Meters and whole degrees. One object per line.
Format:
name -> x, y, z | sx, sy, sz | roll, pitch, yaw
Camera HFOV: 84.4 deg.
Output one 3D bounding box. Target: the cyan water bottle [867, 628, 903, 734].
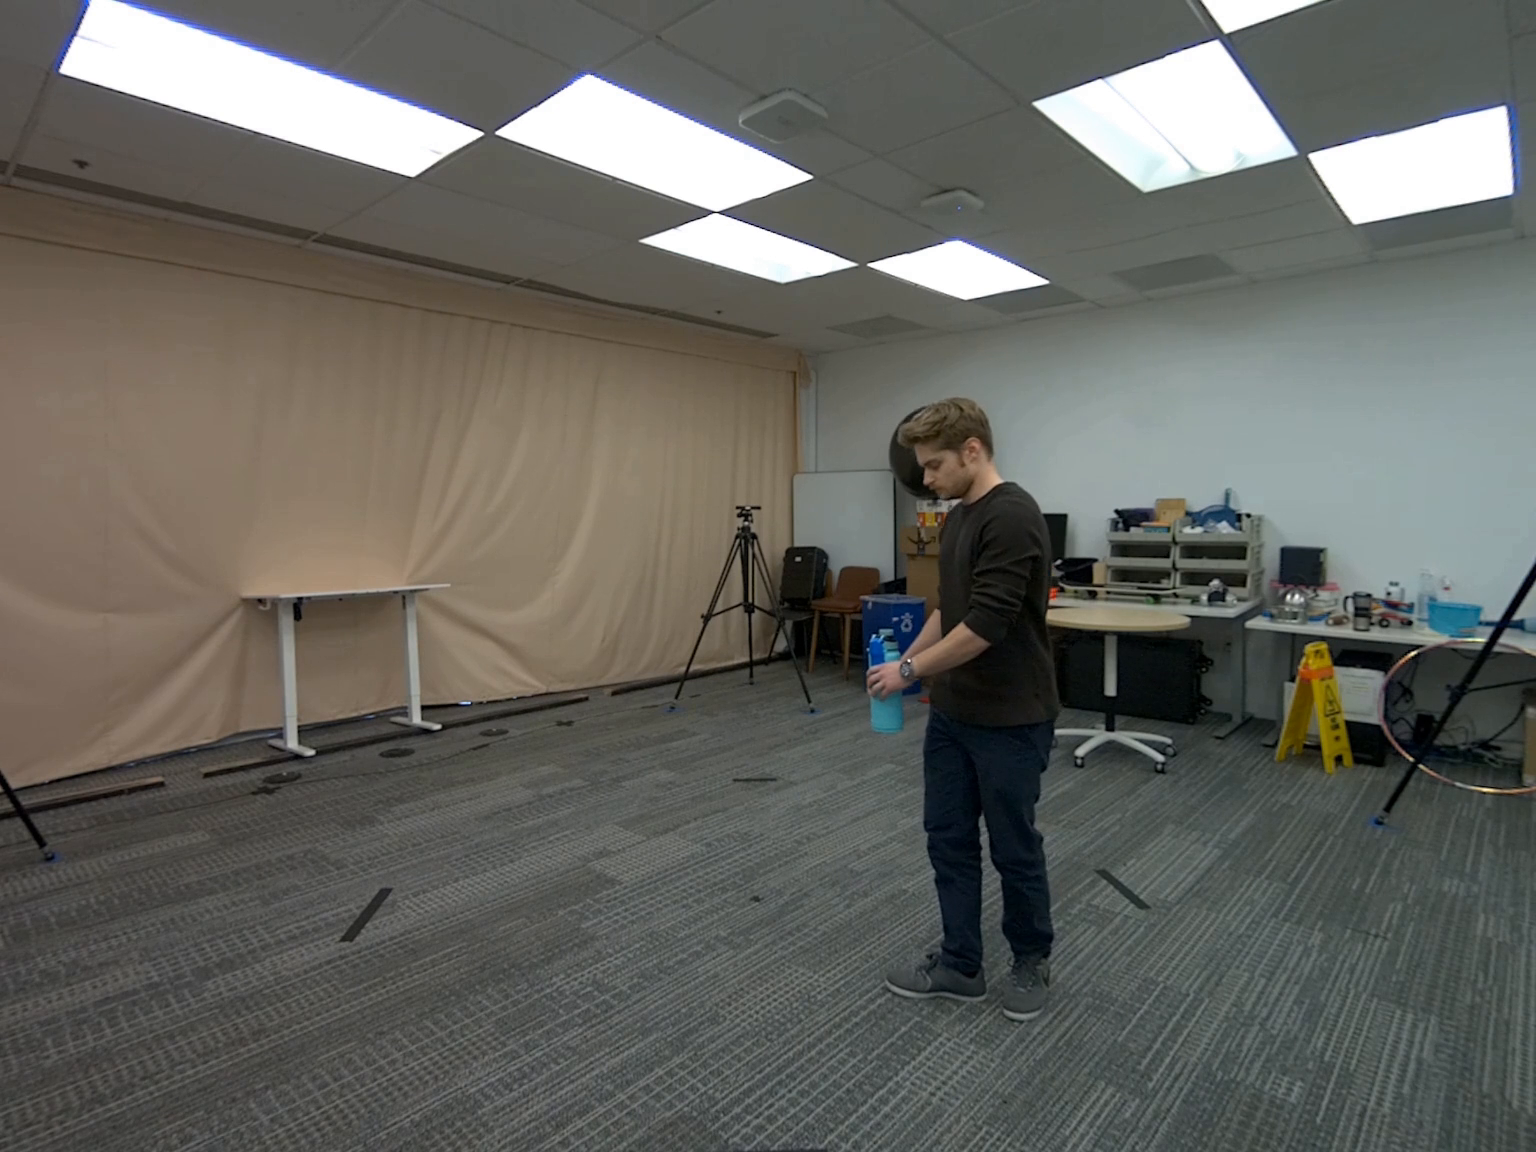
cyan water bottle -> 0.342, 0.295, 2.413 | 0.092, 0.282, 0.093 | -6, 5, -1
